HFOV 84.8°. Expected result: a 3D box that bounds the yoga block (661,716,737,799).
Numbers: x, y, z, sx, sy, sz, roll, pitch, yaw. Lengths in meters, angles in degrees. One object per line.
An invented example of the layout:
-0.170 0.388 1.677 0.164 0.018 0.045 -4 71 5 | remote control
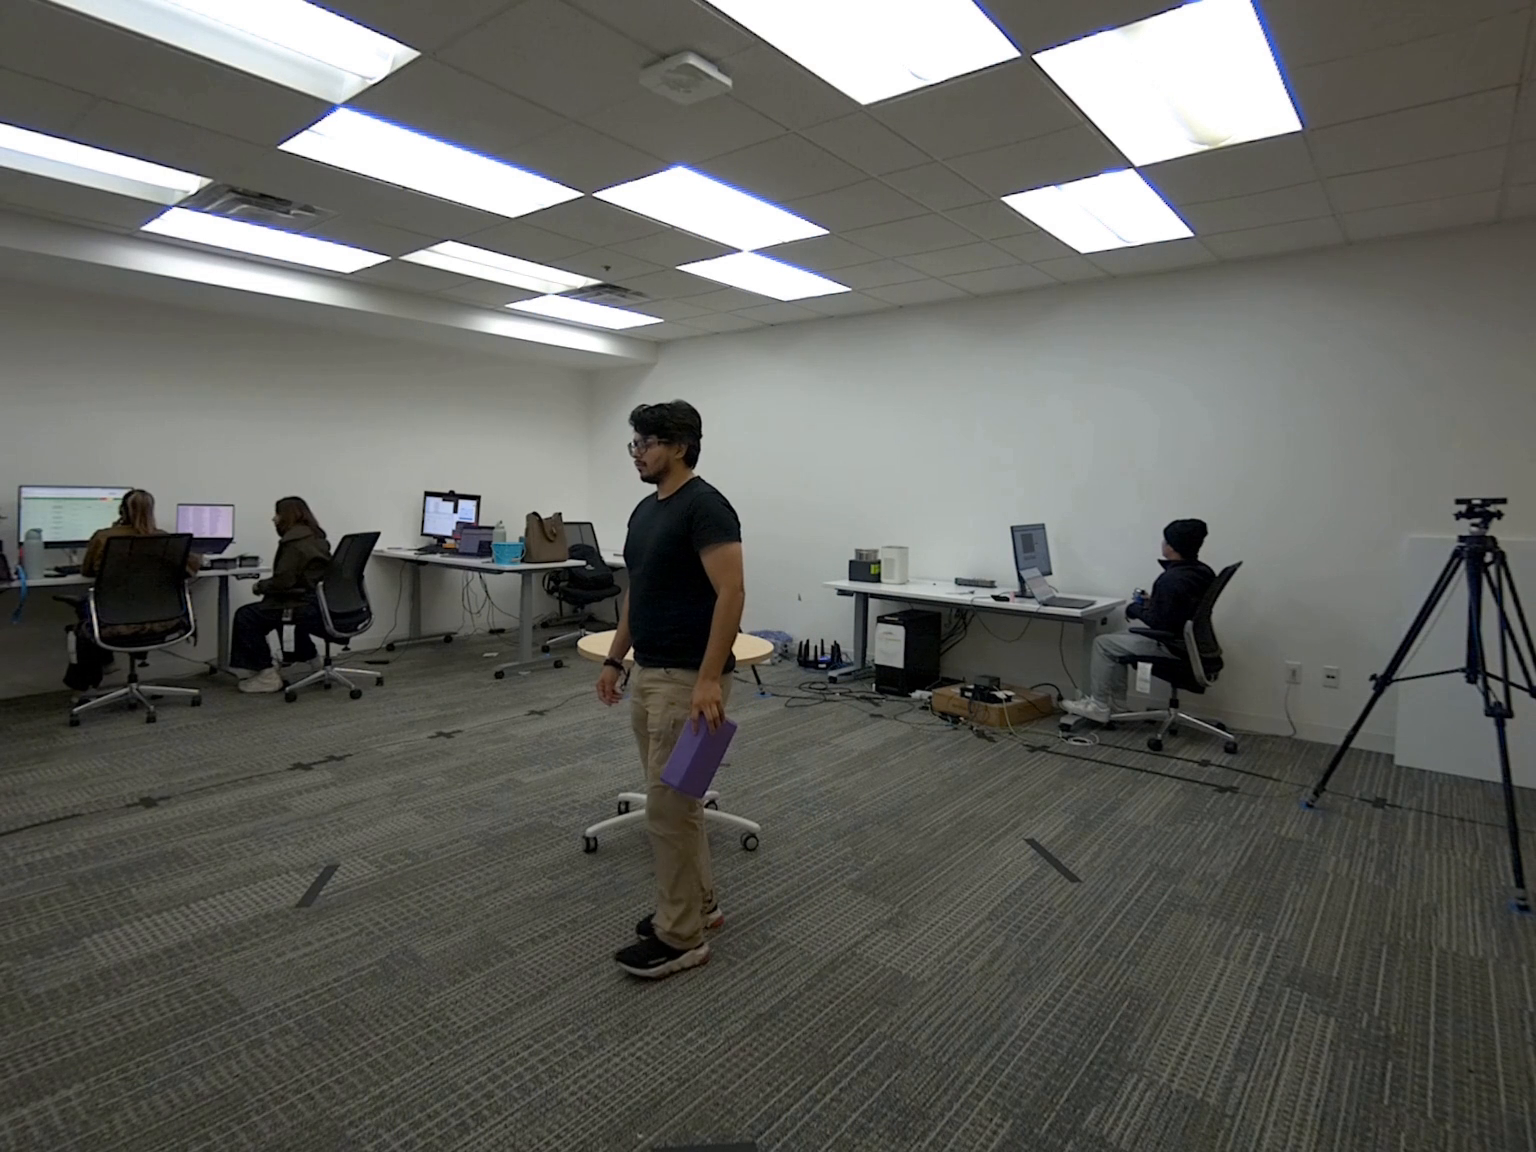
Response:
-0.204 0.481 2.341 0.079 0.230 0.143 18 -14 30 | yoga block
